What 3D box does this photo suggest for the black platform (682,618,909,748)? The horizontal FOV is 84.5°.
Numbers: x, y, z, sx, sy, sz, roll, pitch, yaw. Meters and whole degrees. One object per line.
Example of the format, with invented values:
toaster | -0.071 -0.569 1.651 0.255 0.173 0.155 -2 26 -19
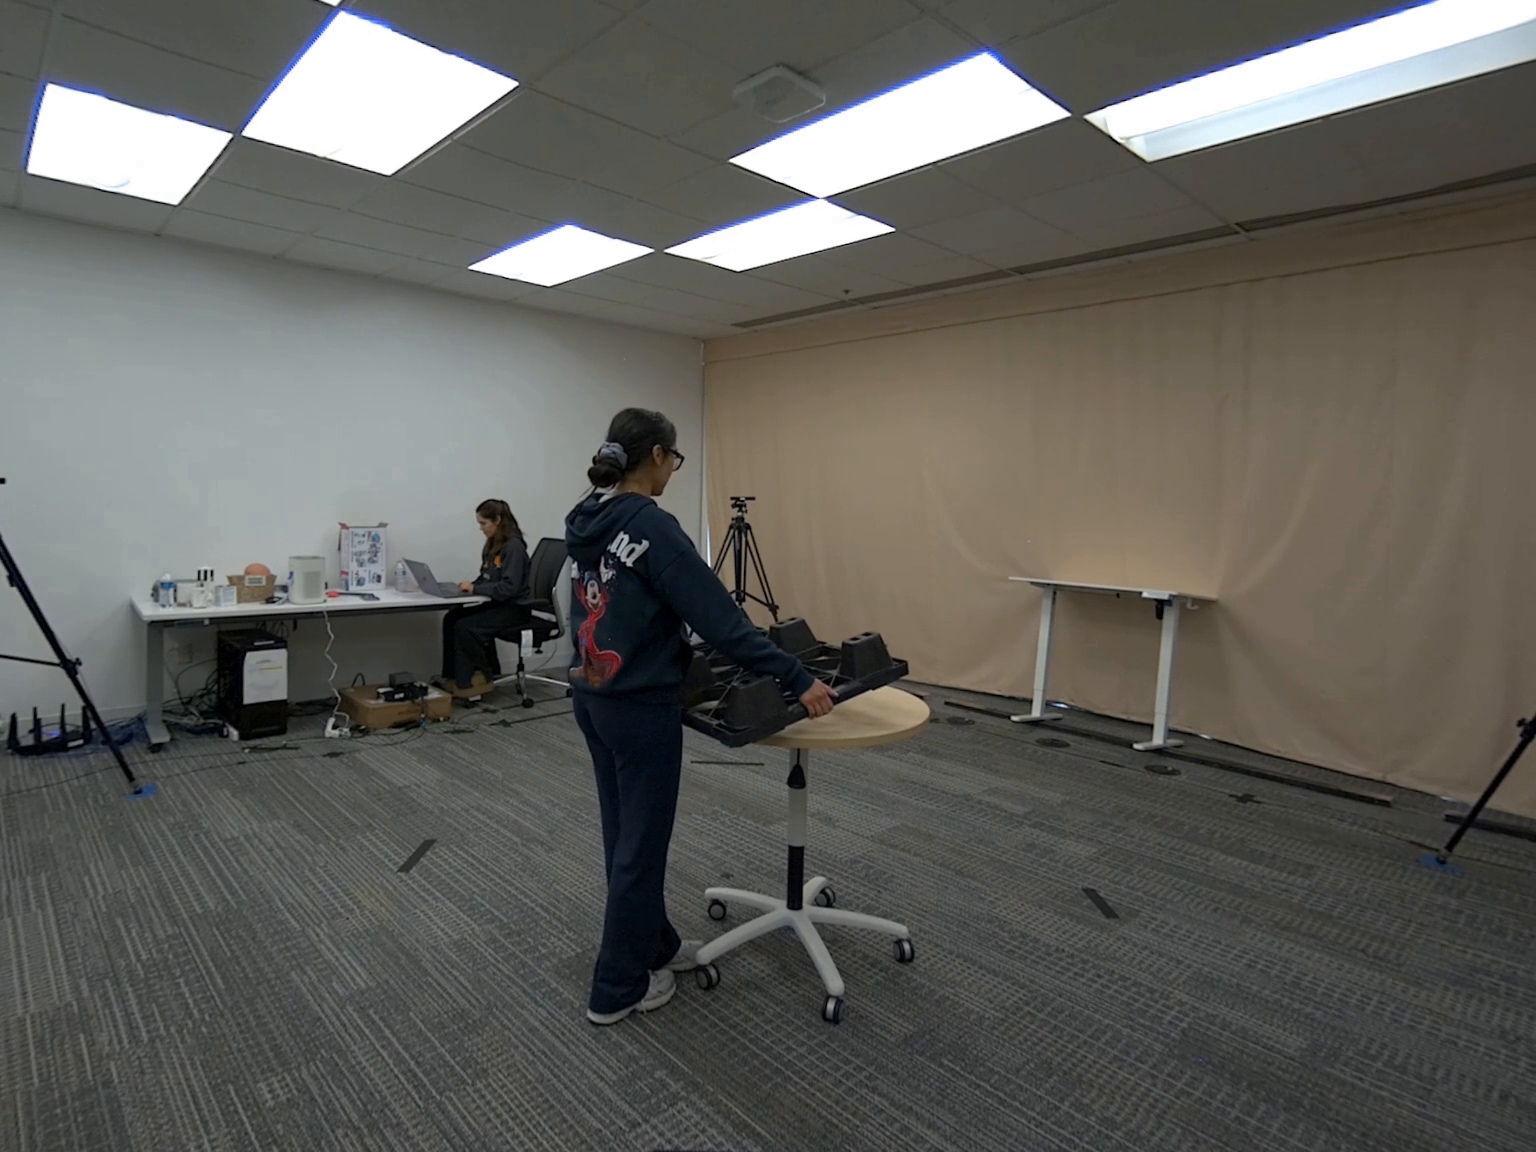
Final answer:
black platform | -0.068 0.256 2.505 0.596 0.142 0.825 -18 15 -33
